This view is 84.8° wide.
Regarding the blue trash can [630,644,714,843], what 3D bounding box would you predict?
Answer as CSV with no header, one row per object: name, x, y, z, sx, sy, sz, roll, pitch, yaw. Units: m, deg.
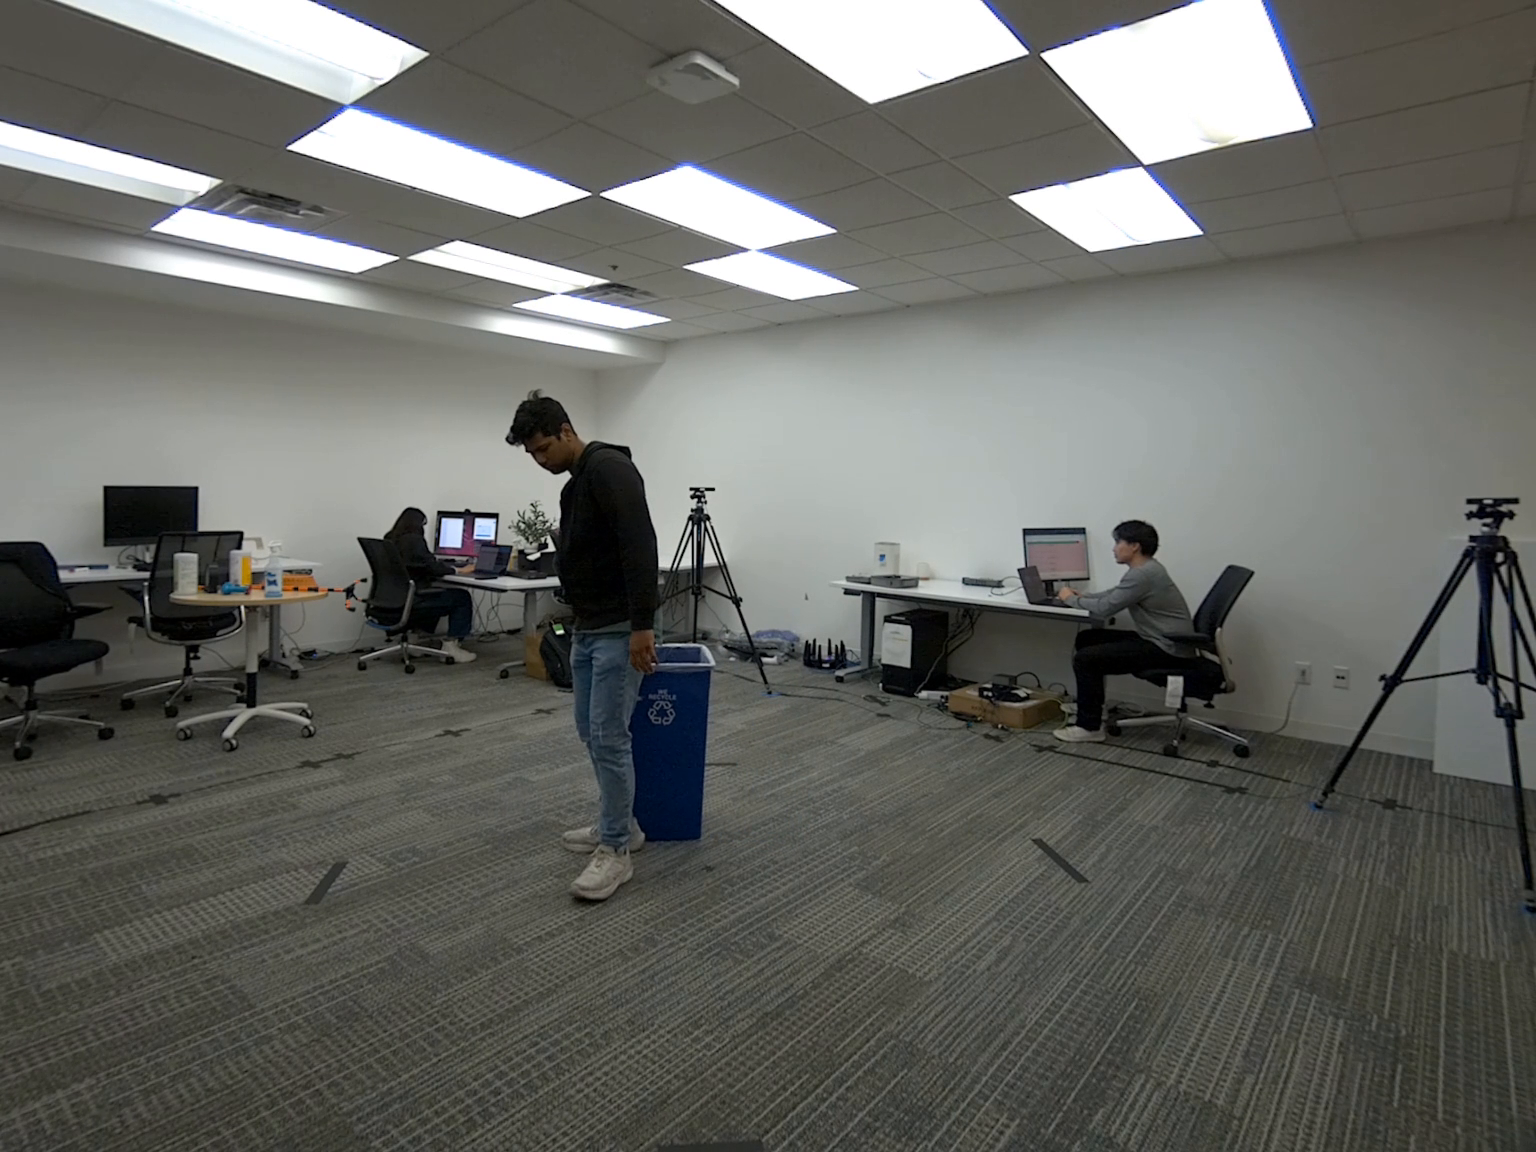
blue trash can,-0.430,0.667,3.460,0.374,0.711,0.379,1,4,-10
